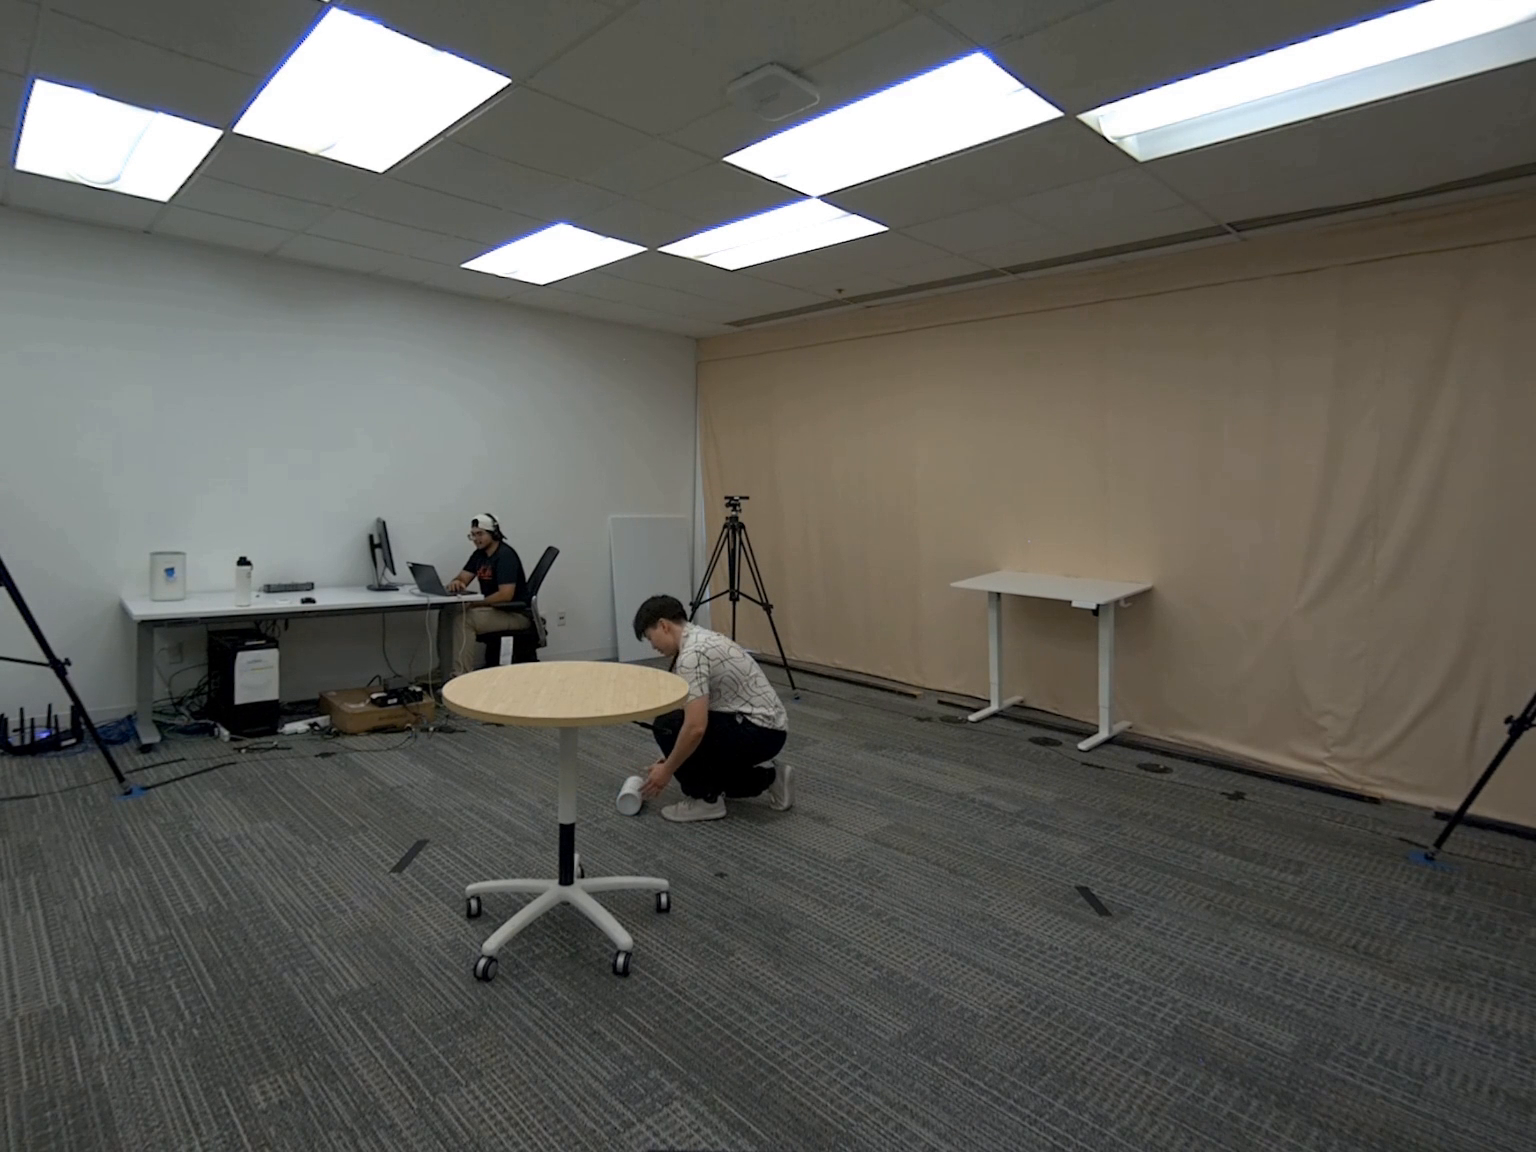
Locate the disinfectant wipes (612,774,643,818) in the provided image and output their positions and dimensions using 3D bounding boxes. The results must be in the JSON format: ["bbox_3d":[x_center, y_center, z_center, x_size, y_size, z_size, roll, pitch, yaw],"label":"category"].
[{"bbox_3d":[-0.616,0.972,3.758,0.118,0.117,0.218,1,3,0],"label":"disinfectant wipes"}]
